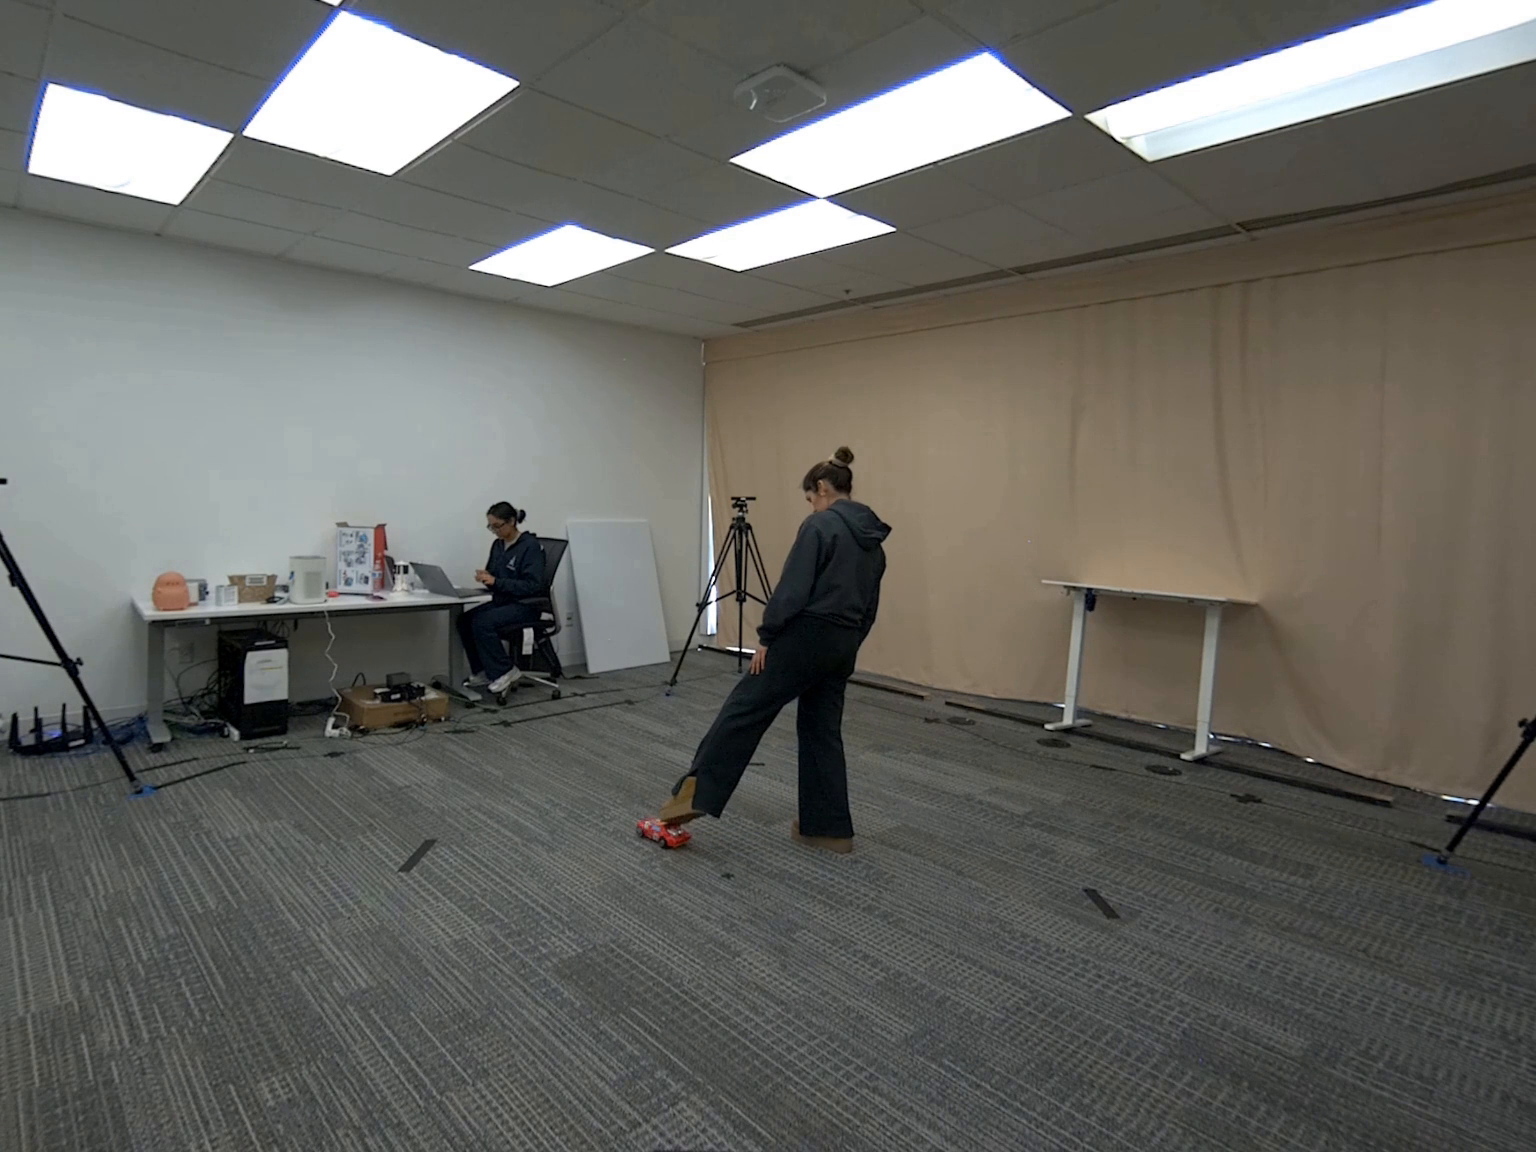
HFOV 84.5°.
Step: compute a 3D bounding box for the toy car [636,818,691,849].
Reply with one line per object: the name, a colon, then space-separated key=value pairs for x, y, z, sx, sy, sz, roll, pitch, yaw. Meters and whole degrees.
toy car: x=-0.425 y=1.038 z=3.408 sx=0.260 sy=0.083 sz=0.127 roll=-5 pitch=-1 yaw=43
